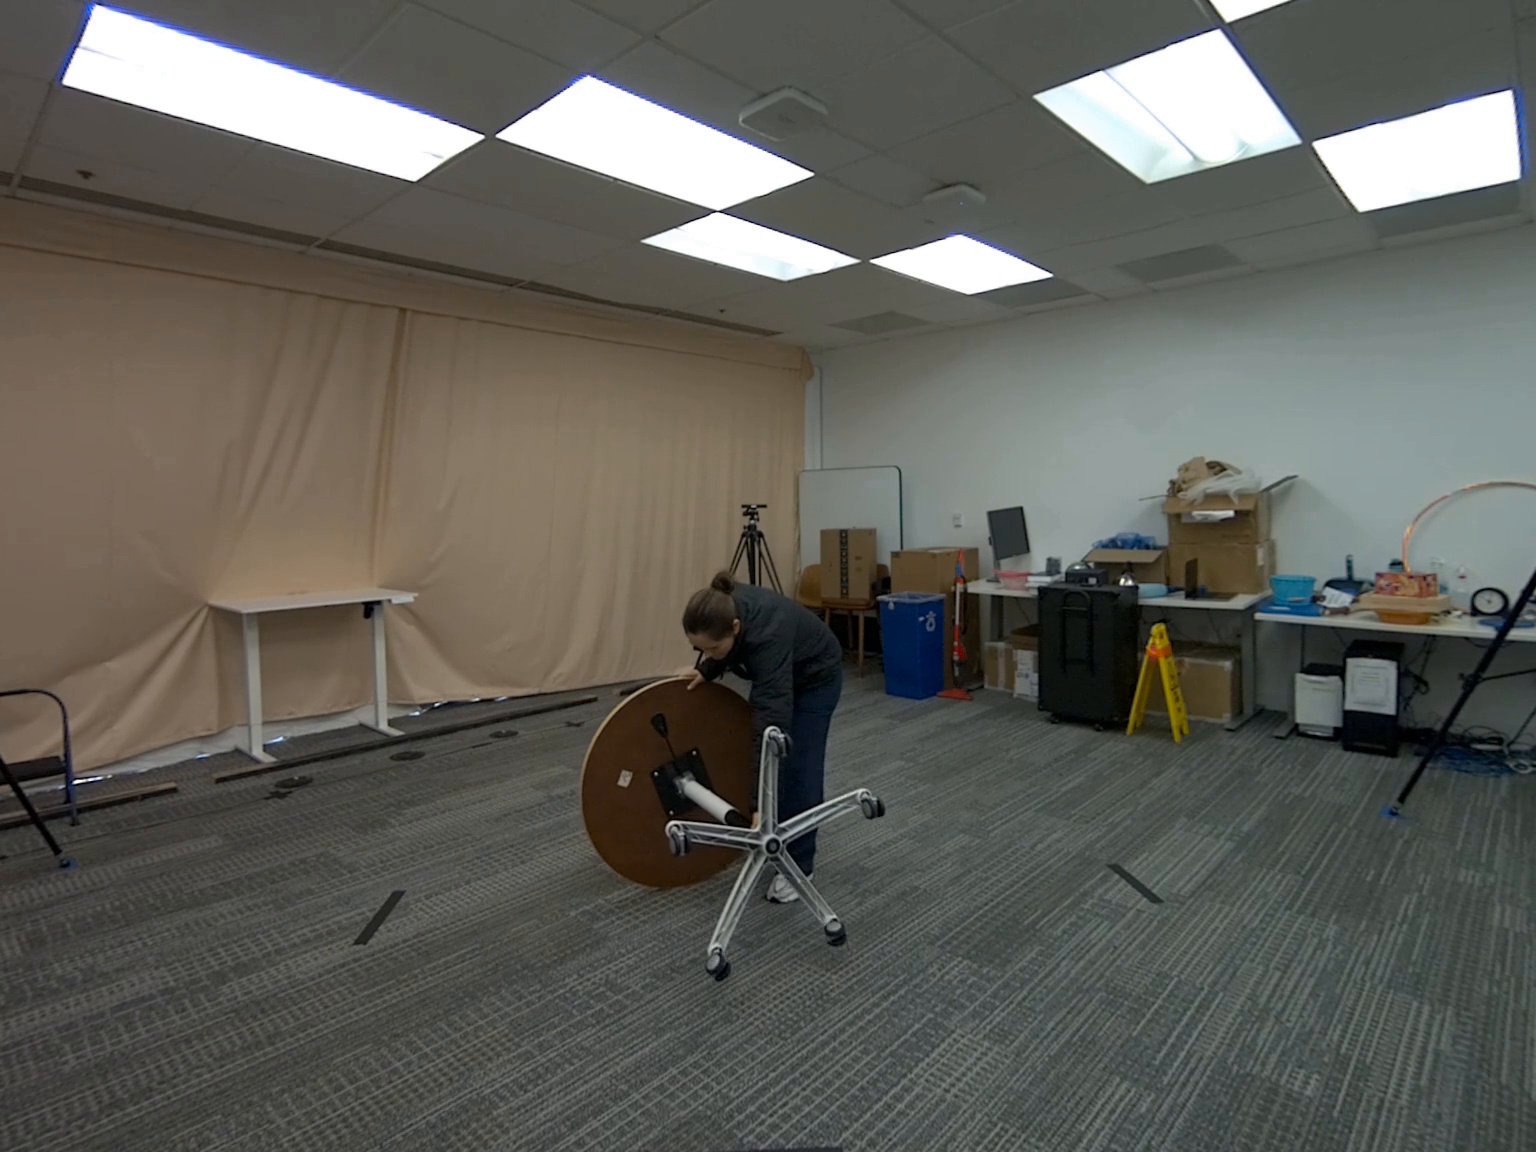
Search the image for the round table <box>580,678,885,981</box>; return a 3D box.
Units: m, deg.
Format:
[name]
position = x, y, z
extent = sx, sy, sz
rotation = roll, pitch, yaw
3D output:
[round table]
position = -0.115, 0.772, 2.743
extent = 0.765, 0.784, 0.808
rotation = -3, 3, -28
